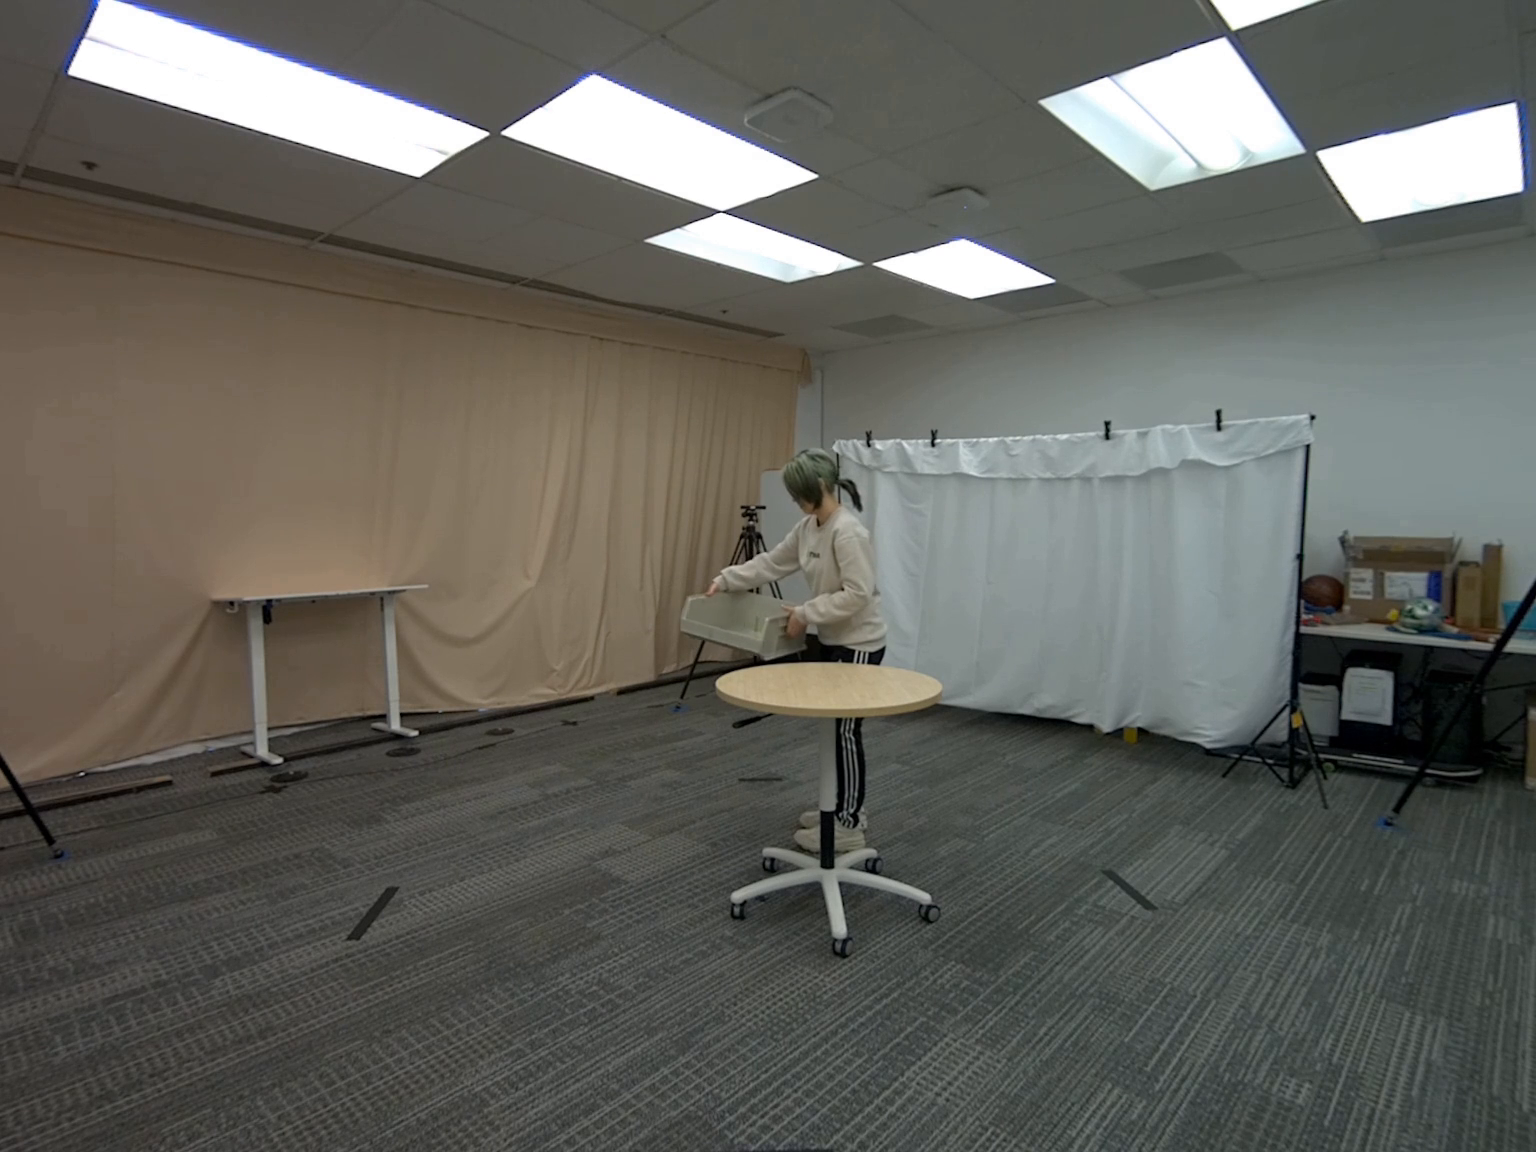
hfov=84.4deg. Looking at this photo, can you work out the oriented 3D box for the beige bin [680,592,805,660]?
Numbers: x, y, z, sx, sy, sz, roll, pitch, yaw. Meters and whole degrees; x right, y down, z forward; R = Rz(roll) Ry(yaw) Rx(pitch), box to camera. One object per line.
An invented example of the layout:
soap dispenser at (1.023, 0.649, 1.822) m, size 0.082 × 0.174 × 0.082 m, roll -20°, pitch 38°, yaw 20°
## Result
beige bin at (-0.086, 0.205, 3.558) m, size 0.437 × 0.188 × 0.366 m, roll 11°, pitch 9°, yaw 36°
